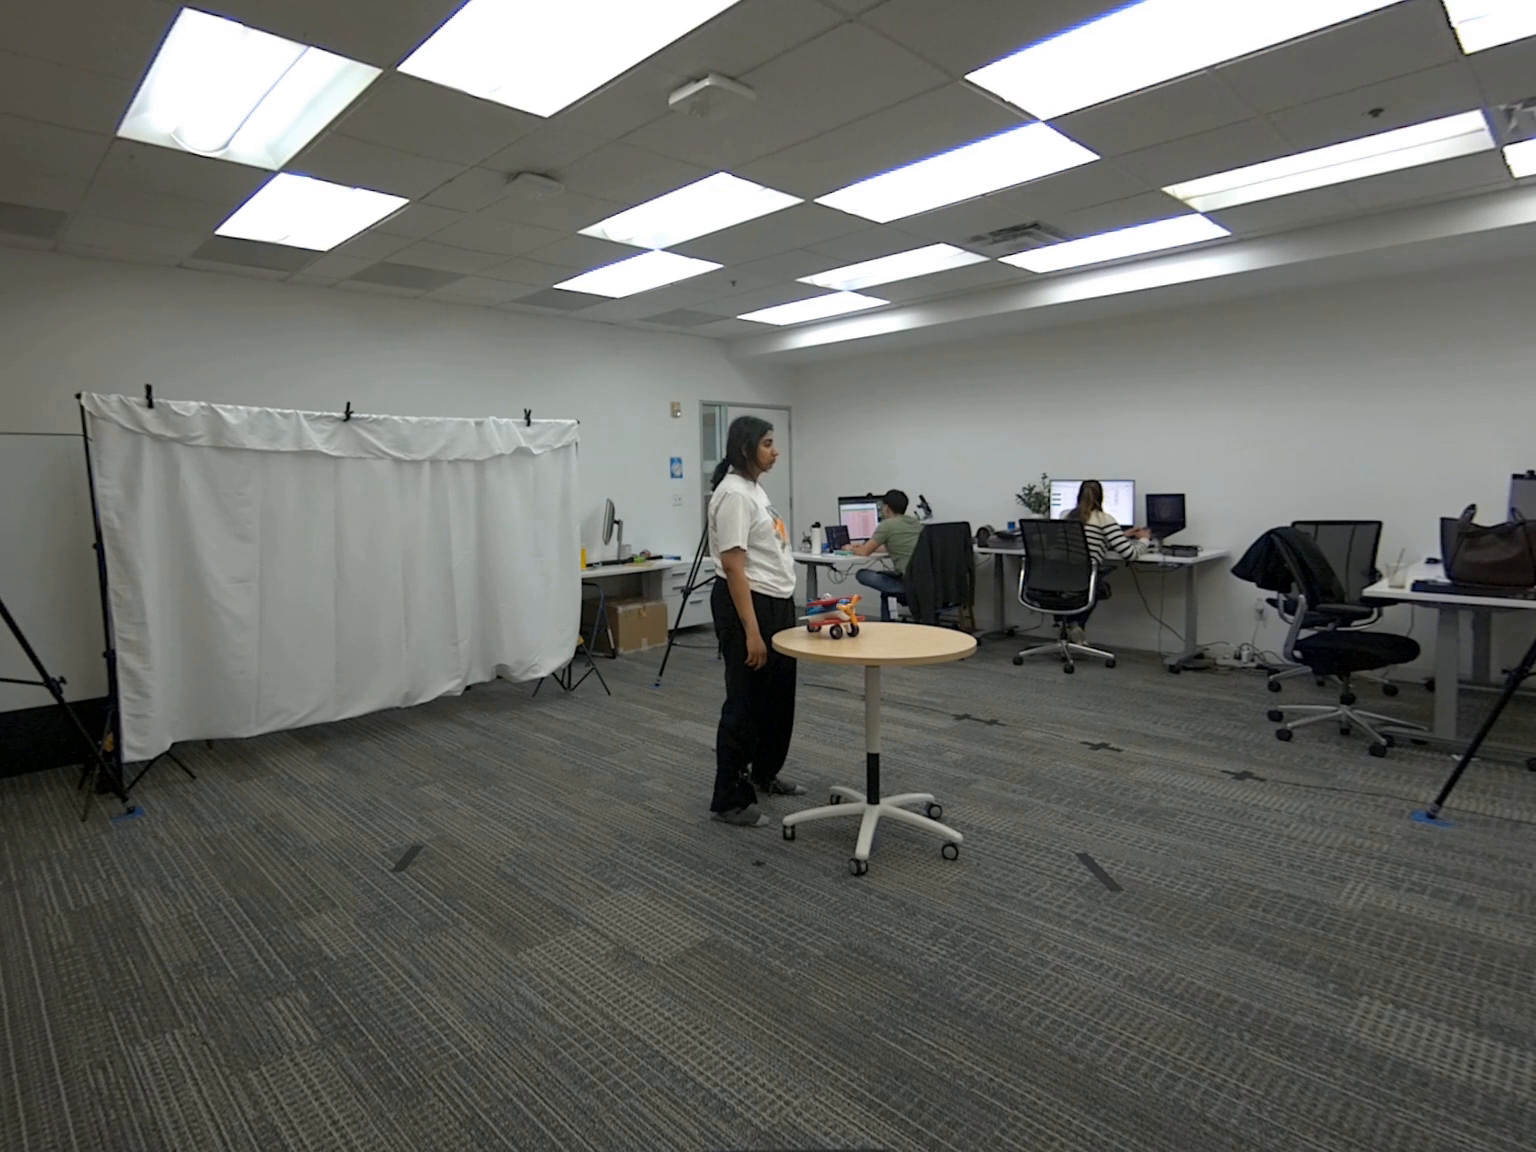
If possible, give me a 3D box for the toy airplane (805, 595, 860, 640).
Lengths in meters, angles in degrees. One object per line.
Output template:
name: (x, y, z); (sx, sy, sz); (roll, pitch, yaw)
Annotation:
toy airplane: (0.235, 0.157, 3.338); (0.265, 0.156, 0.246); (2, 6, 26)
